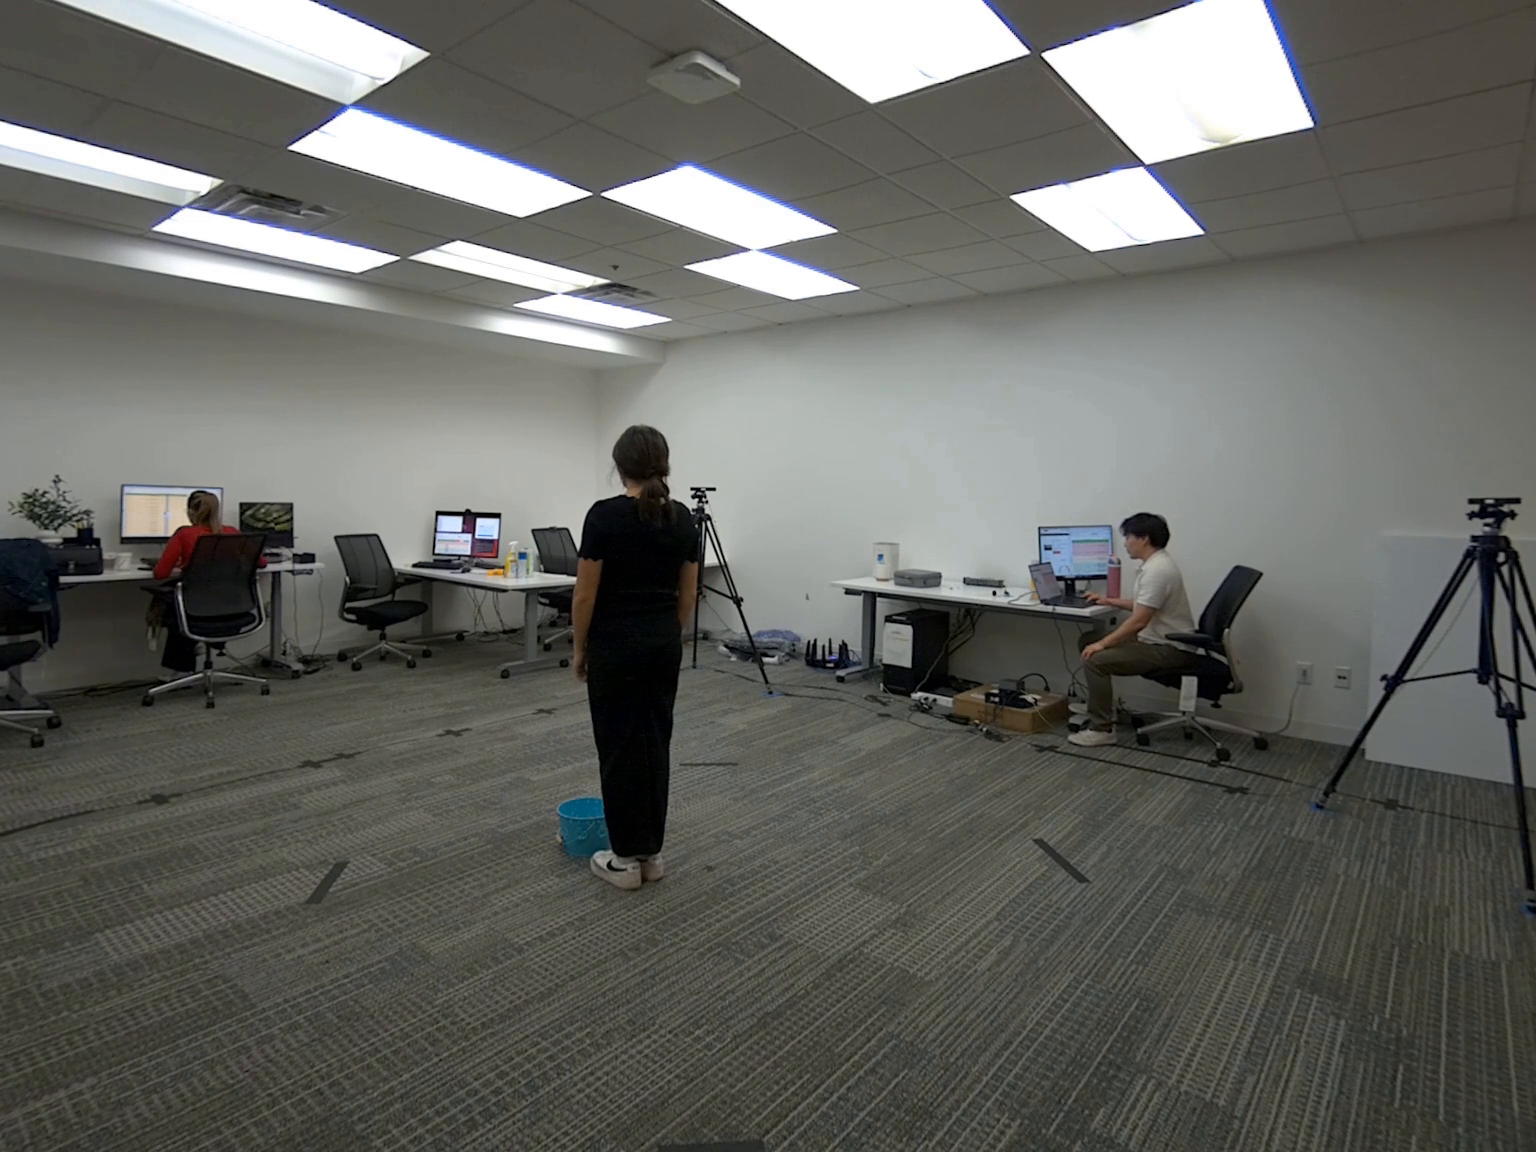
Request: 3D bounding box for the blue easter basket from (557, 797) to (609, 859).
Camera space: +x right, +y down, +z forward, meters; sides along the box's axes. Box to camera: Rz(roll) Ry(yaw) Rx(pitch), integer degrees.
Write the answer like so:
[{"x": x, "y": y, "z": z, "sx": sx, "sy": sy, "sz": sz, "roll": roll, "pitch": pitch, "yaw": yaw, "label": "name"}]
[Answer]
[{"x": -0.709, "y": 0.962, "z": 3.281, "sx": 0.243, "sy": 0.155, "sz": 0.245, "roll": 1, "pitch": 5, "yaw": -2, "label": "blue easter basket"}]
